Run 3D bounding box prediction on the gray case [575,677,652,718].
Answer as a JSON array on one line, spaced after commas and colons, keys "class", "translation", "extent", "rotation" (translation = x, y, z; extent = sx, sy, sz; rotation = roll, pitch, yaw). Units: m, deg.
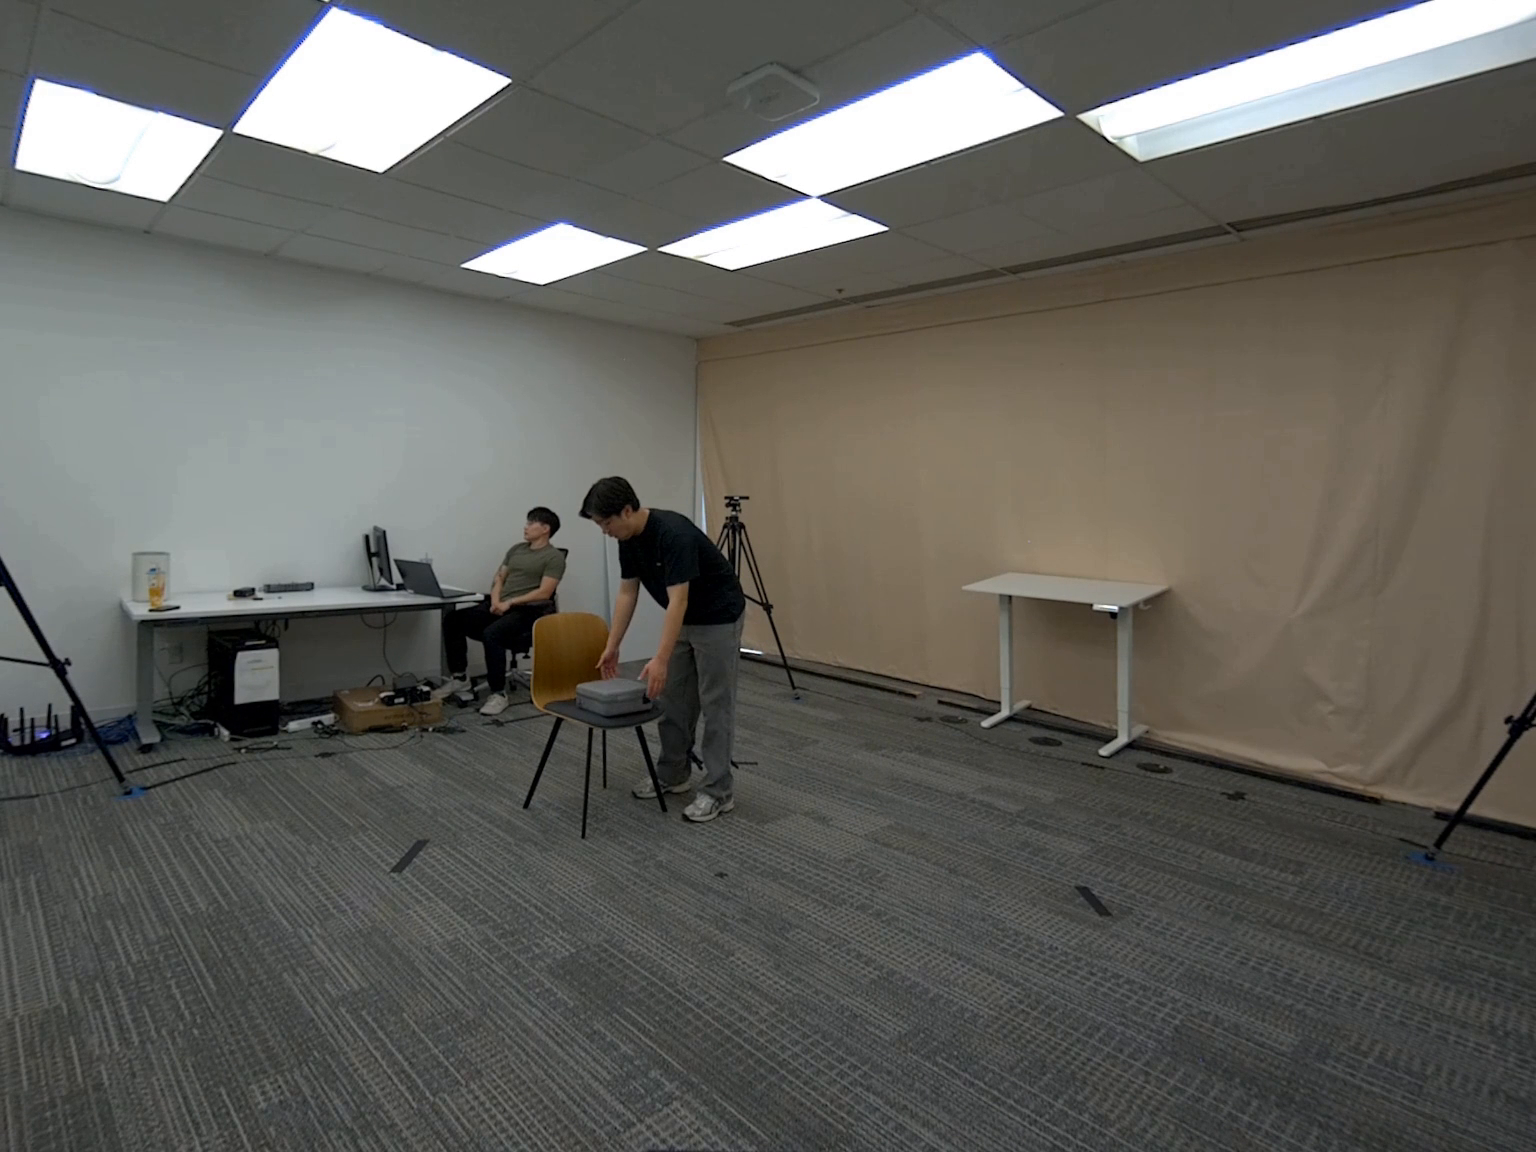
[{"class": "gray case", "translation": [-0.672, 0.511, 3.595], "extent": [0.257, 0.103, 0.294], "rotation": [-3, 5, -43]}]
